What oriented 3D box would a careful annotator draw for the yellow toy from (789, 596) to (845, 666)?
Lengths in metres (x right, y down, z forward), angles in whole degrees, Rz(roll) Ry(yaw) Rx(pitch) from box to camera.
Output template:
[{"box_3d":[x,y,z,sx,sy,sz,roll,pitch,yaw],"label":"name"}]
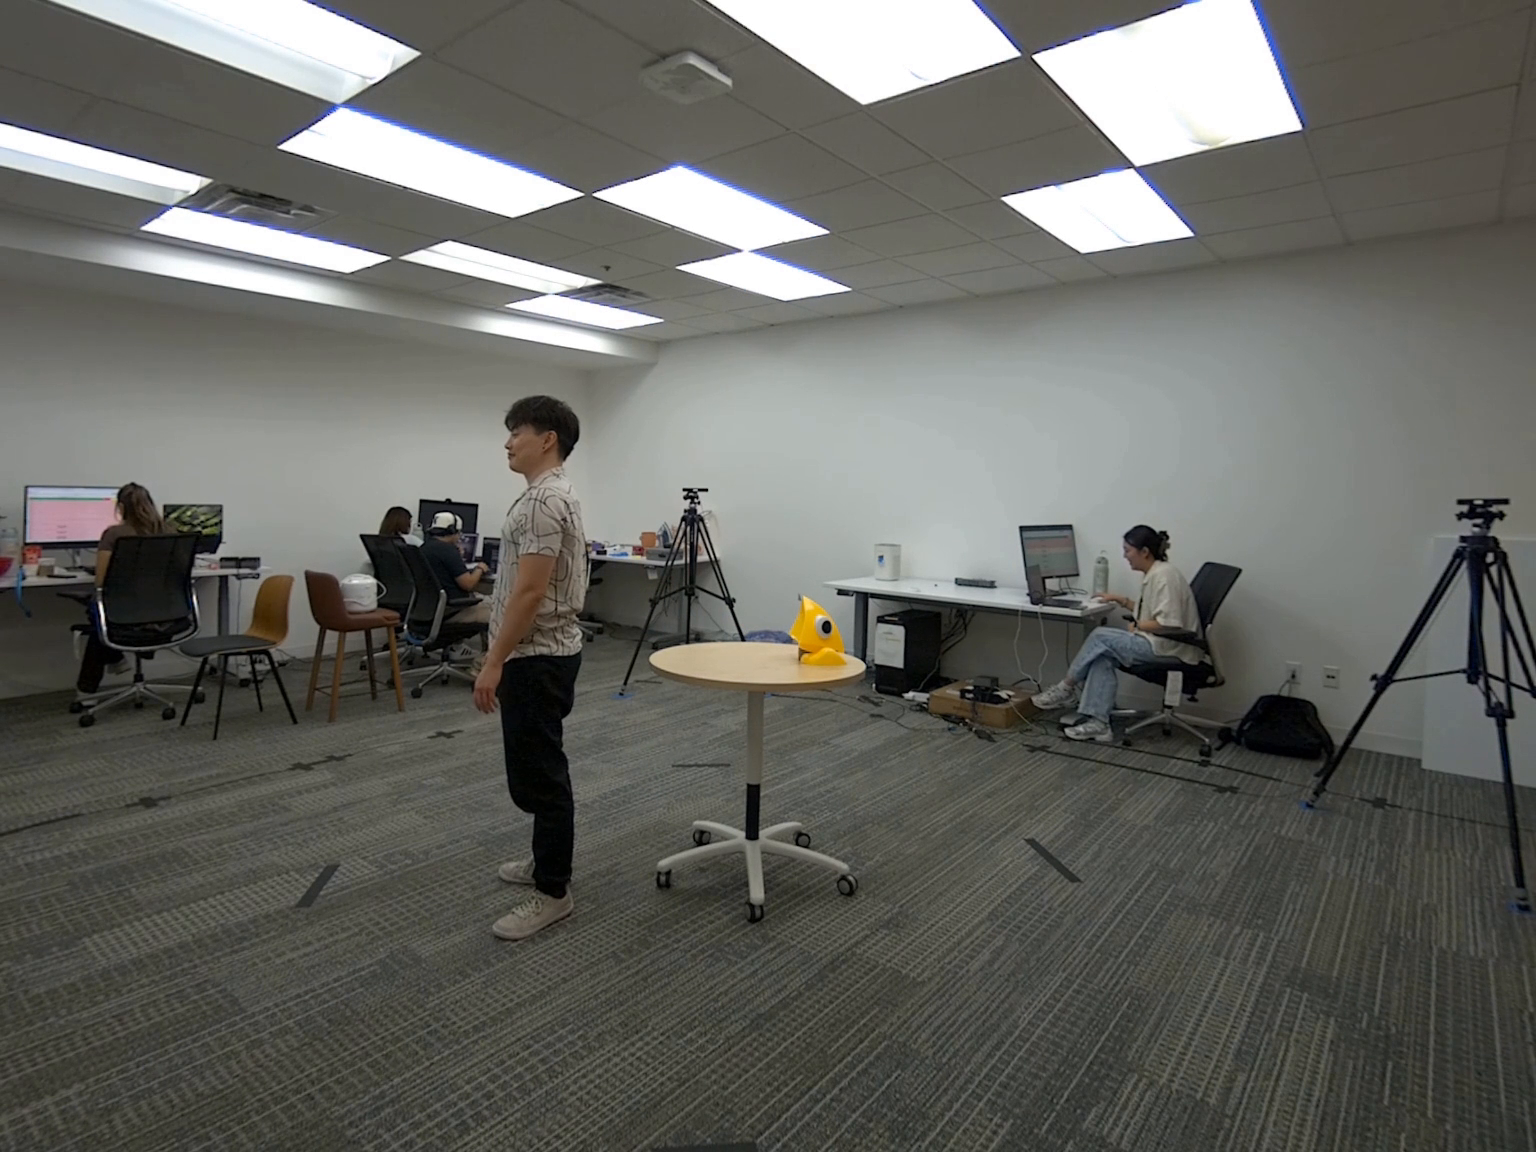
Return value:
[{"box_3d":[0.174,0.187,3.053,0.192,0.230,0.207,1,3,-7],"label":"yellow toy"}]
